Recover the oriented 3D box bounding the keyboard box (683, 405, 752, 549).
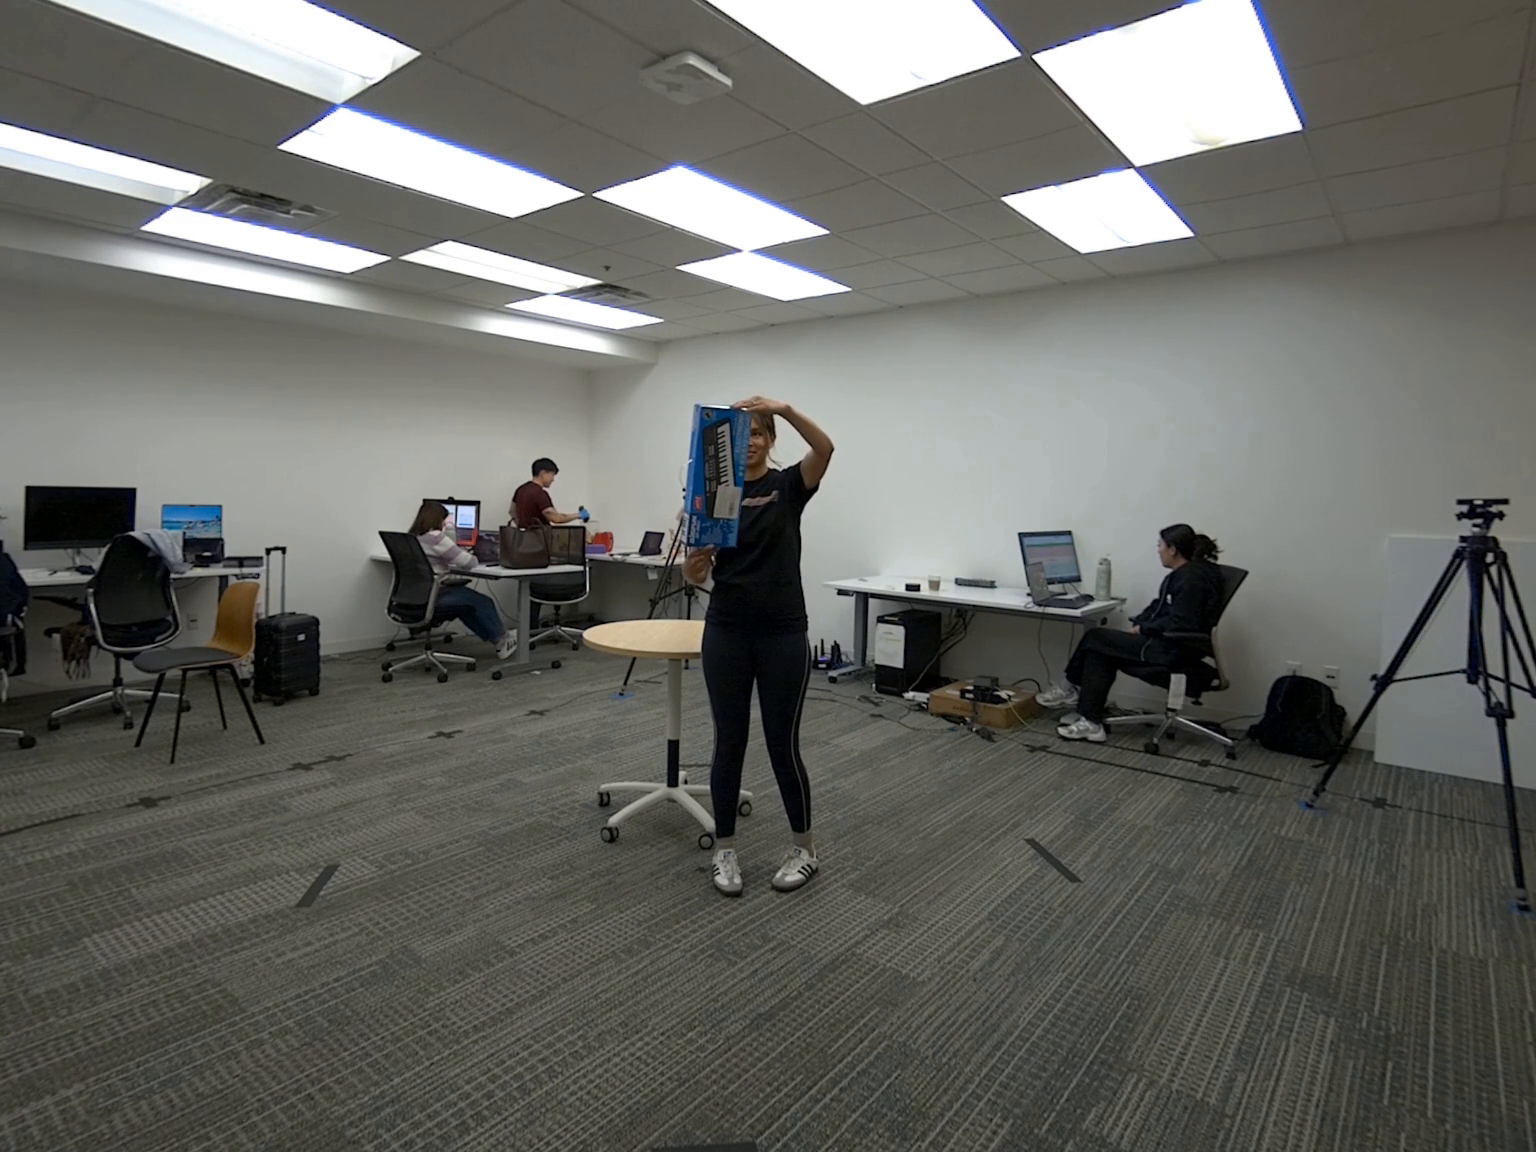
[{"bbox_3d":[-0.169,-0.308,2.638,0.172,0.432,0.061,2,13,-23],"label":"keyboard box"}]
